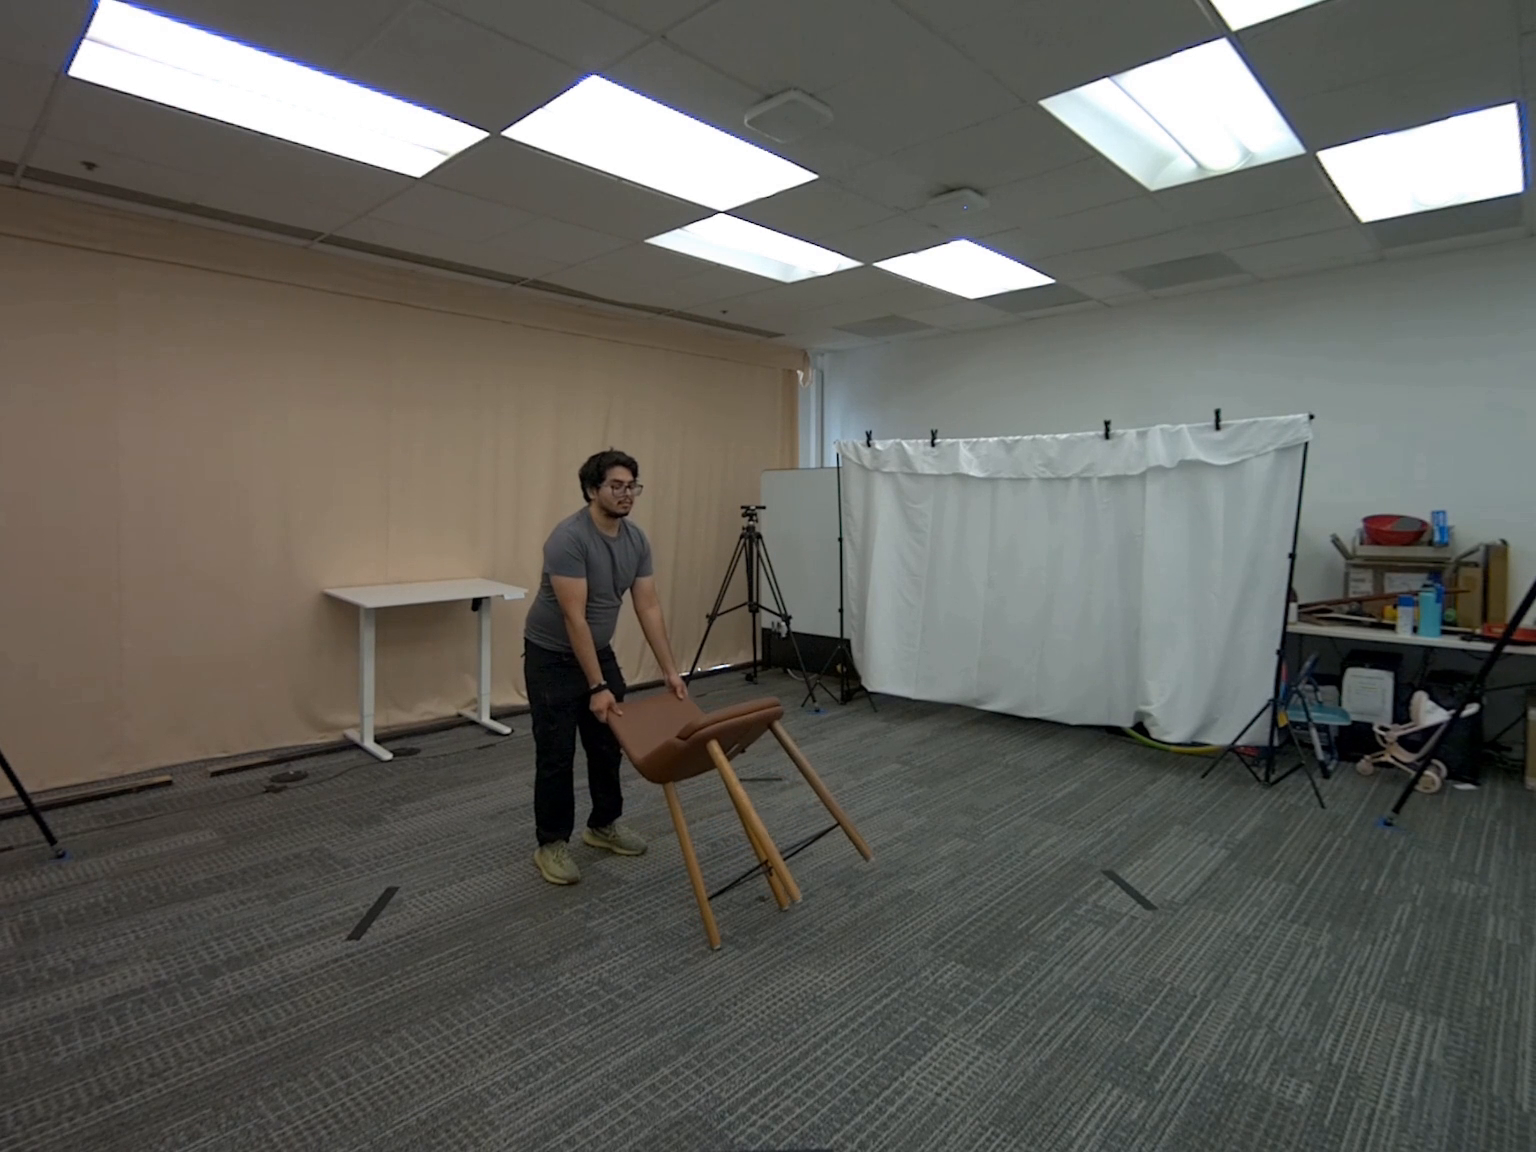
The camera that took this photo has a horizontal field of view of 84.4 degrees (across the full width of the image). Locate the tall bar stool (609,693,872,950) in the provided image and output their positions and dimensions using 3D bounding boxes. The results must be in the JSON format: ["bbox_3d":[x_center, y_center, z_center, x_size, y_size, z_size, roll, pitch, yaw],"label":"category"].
[{"bbox_3d":[-0.132,0.685,2.821,0.443,0.911,0.471,-5,-34,-48],"label":"tall bar stool"}]
